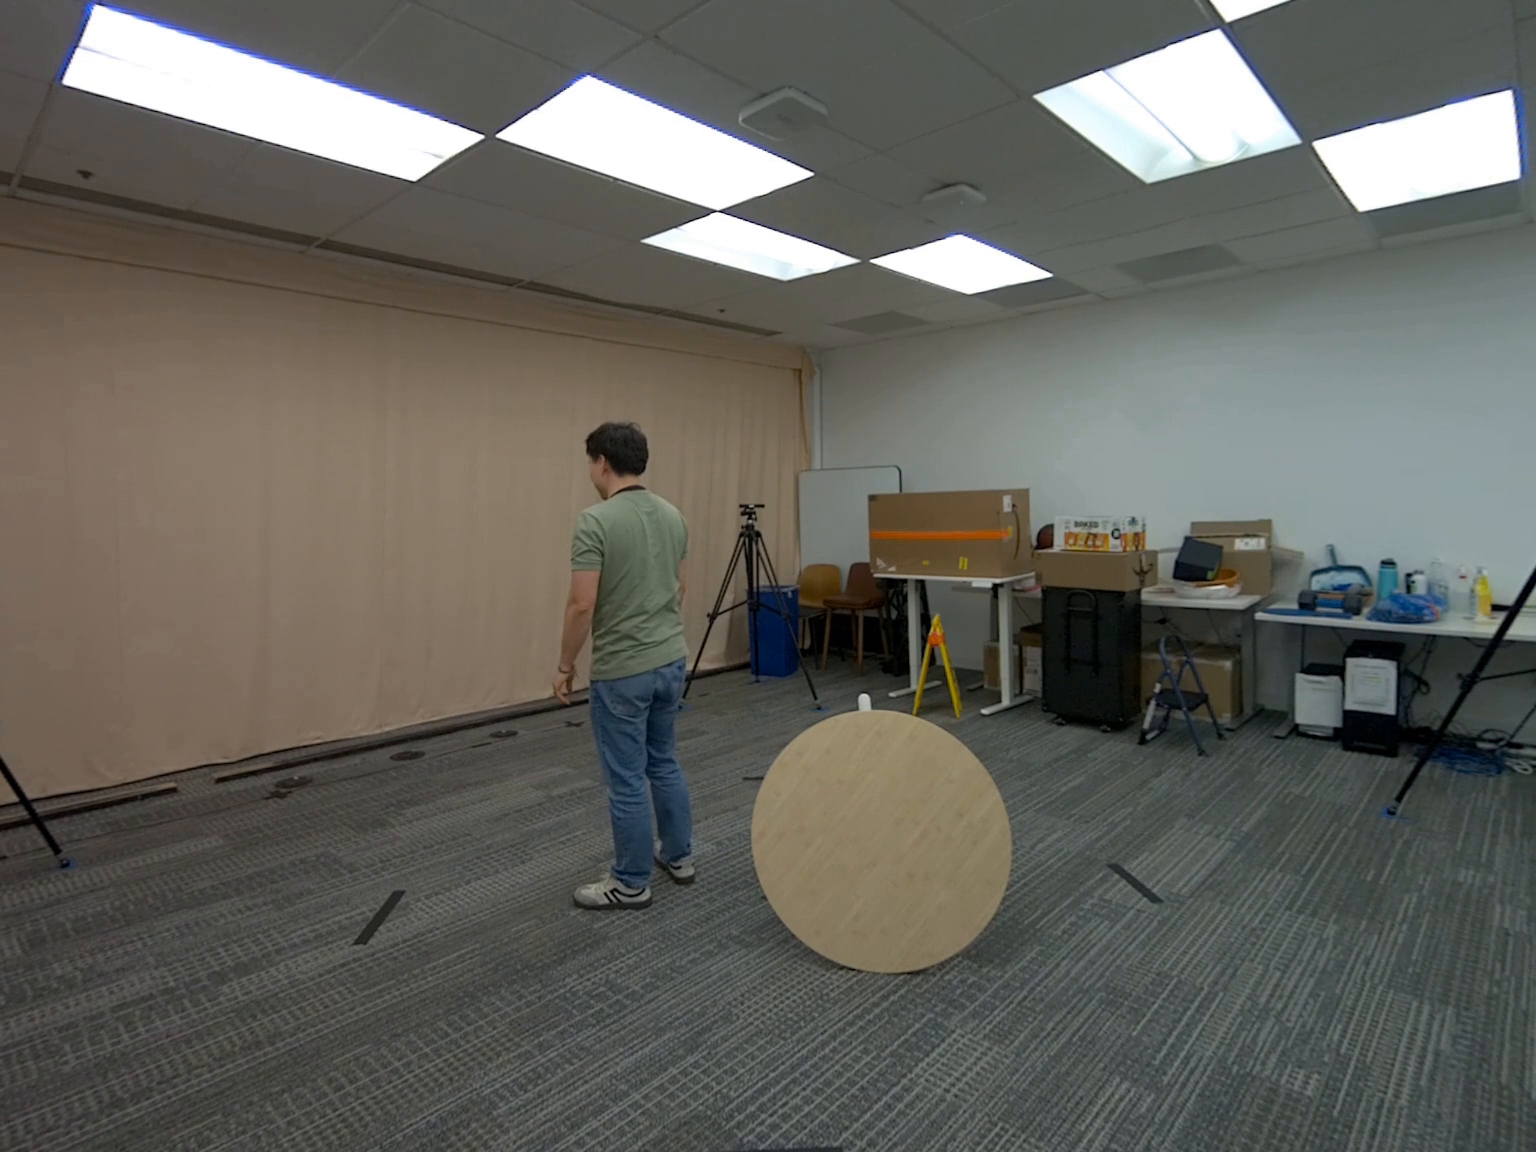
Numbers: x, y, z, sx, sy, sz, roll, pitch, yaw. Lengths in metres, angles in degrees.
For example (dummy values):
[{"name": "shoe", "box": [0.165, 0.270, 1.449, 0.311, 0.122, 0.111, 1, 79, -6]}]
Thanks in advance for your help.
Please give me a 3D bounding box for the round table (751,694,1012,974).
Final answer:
[{"name": "round table", "box": [0.364, 0.805, 2.908, 0.770, 0.765, 0.787, 0, -2, 6]}]
